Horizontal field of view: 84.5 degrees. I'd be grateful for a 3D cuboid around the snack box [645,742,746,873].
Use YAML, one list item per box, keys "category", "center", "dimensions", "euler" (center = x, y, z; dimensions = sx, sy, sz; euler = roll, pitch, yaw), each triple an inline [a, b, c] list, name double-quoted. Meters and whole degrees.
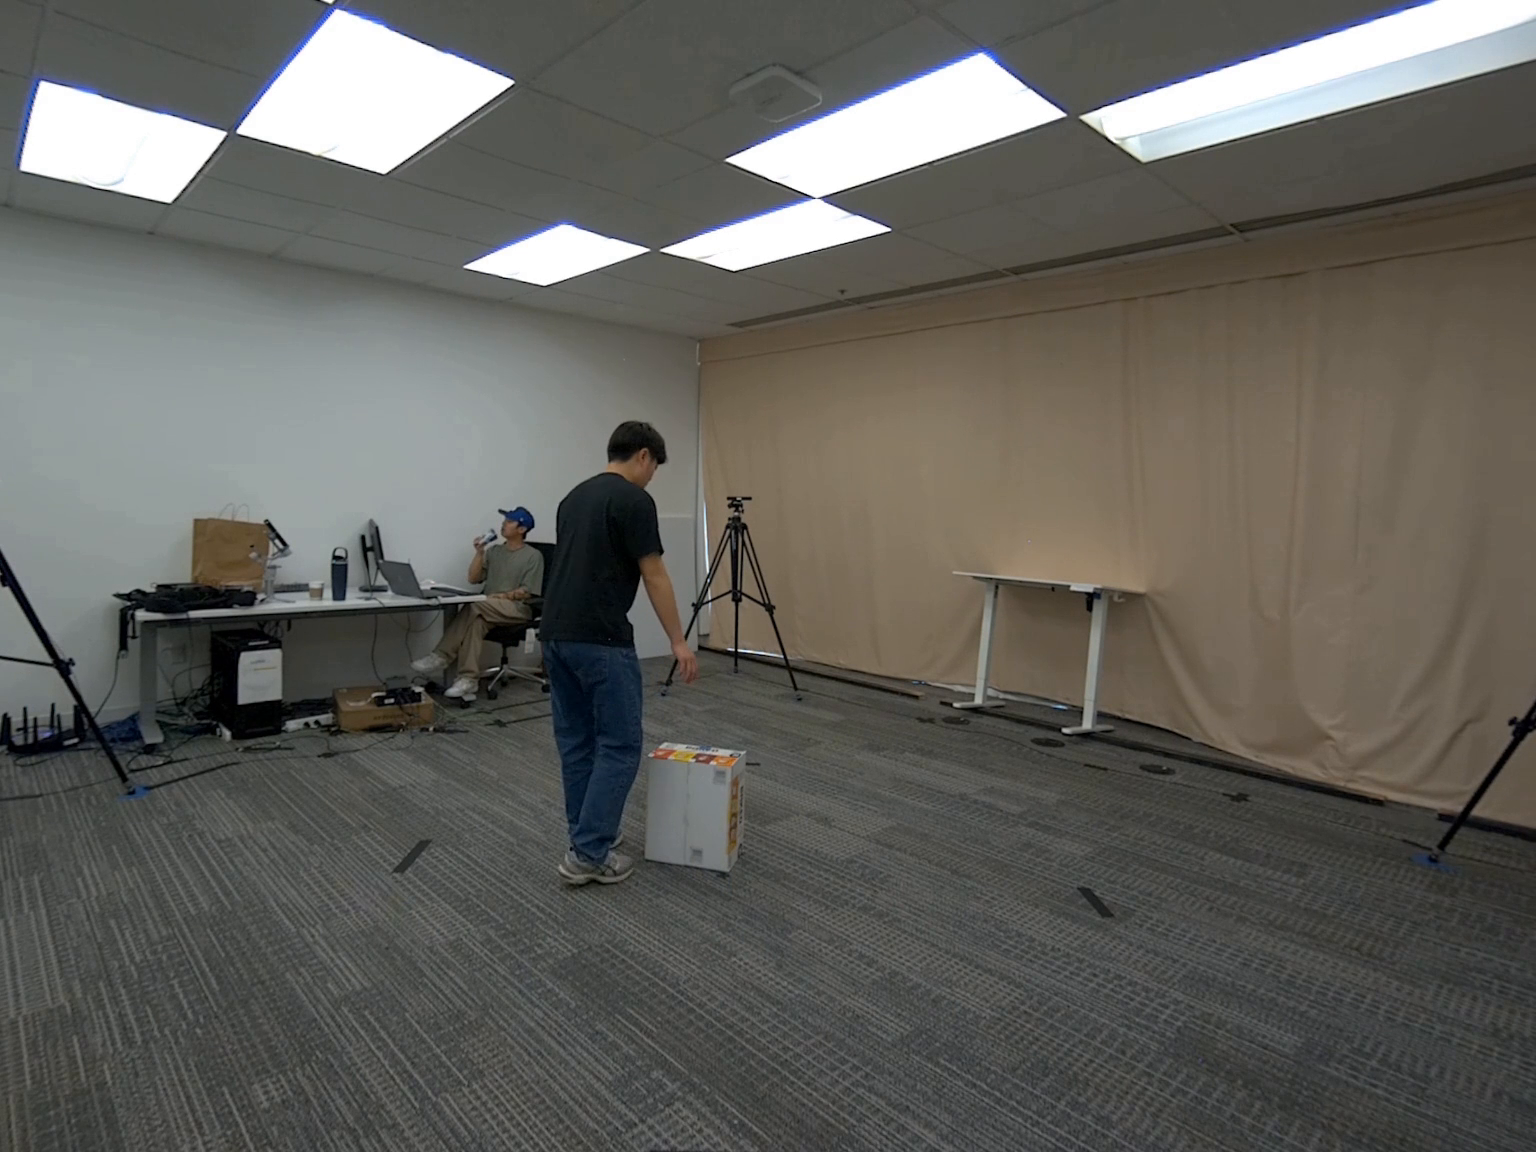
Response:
- category: "snack box"
  center: [-0.284, 0.886, 3.258]
  dimensions: [0.345, 0.404, 0.203]
  euler: [3, 3, 16]
